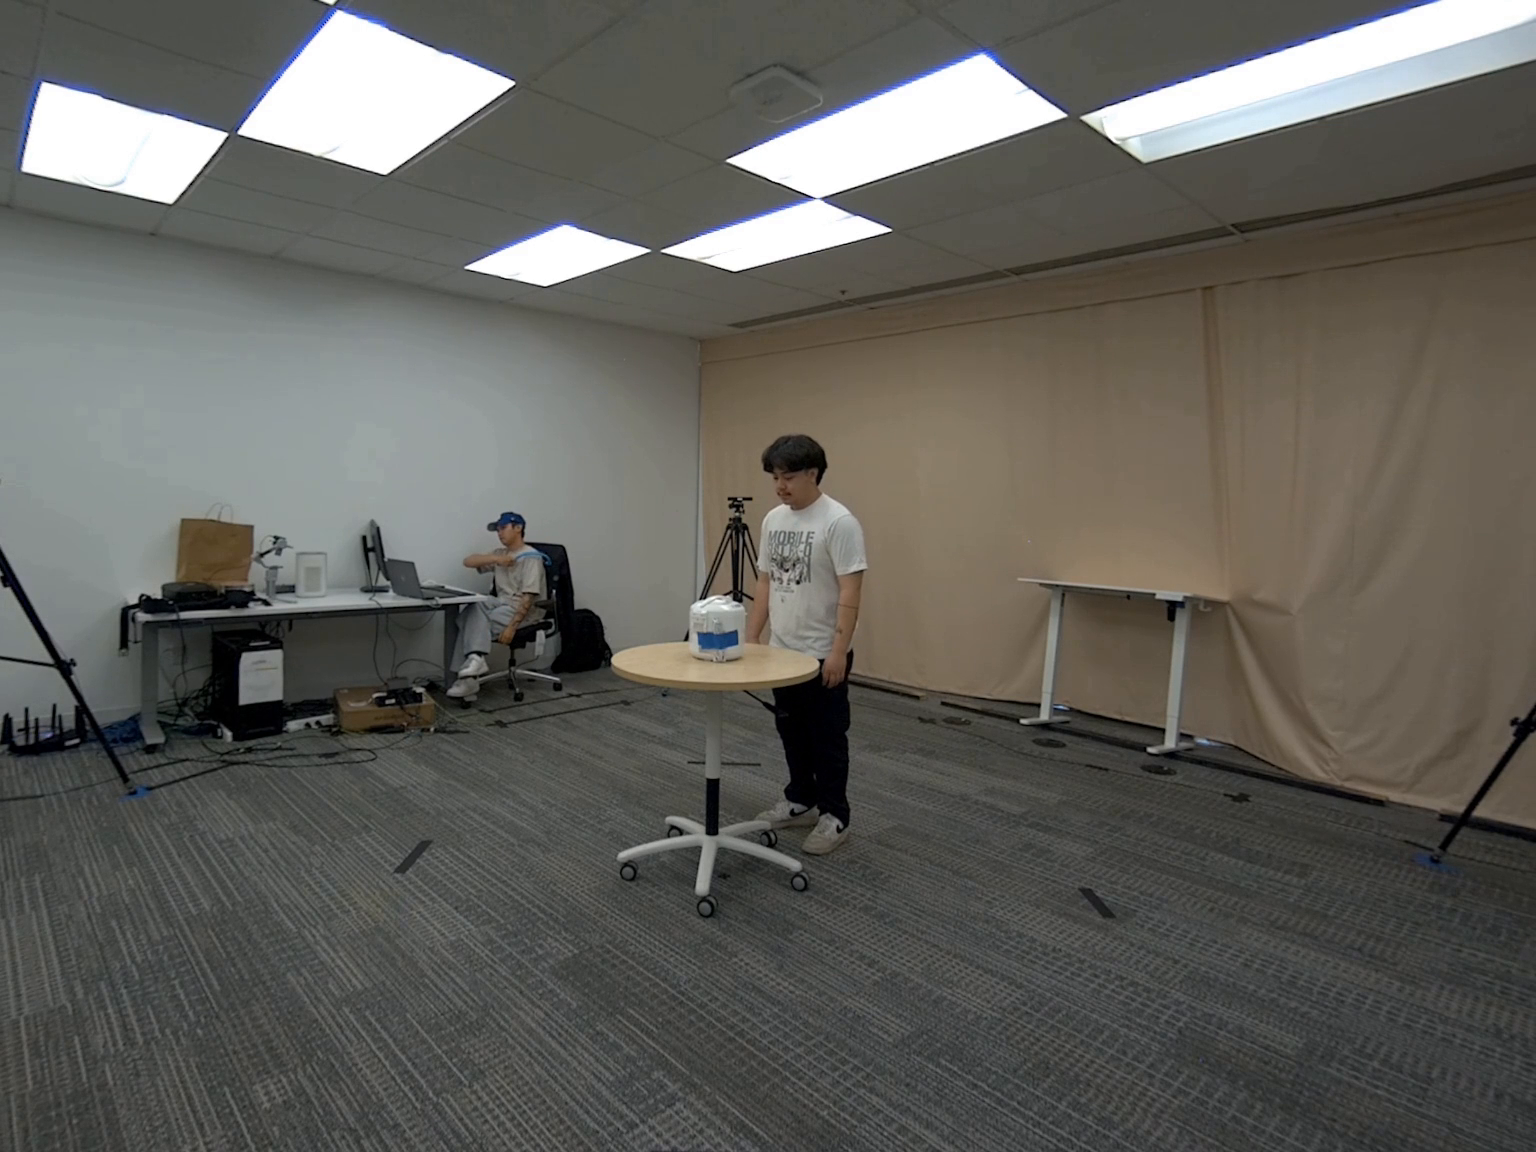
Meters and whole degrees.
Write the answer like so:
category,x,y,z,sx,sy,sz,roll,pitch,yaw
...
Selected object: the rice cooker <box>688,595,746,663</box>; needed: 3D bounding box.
category,x,y,z,sx,sy,sz,roll,pitch,yaw
rice cooker,-0.199,0.186,3.146,0.223,0.232,0.216,6,6,38
